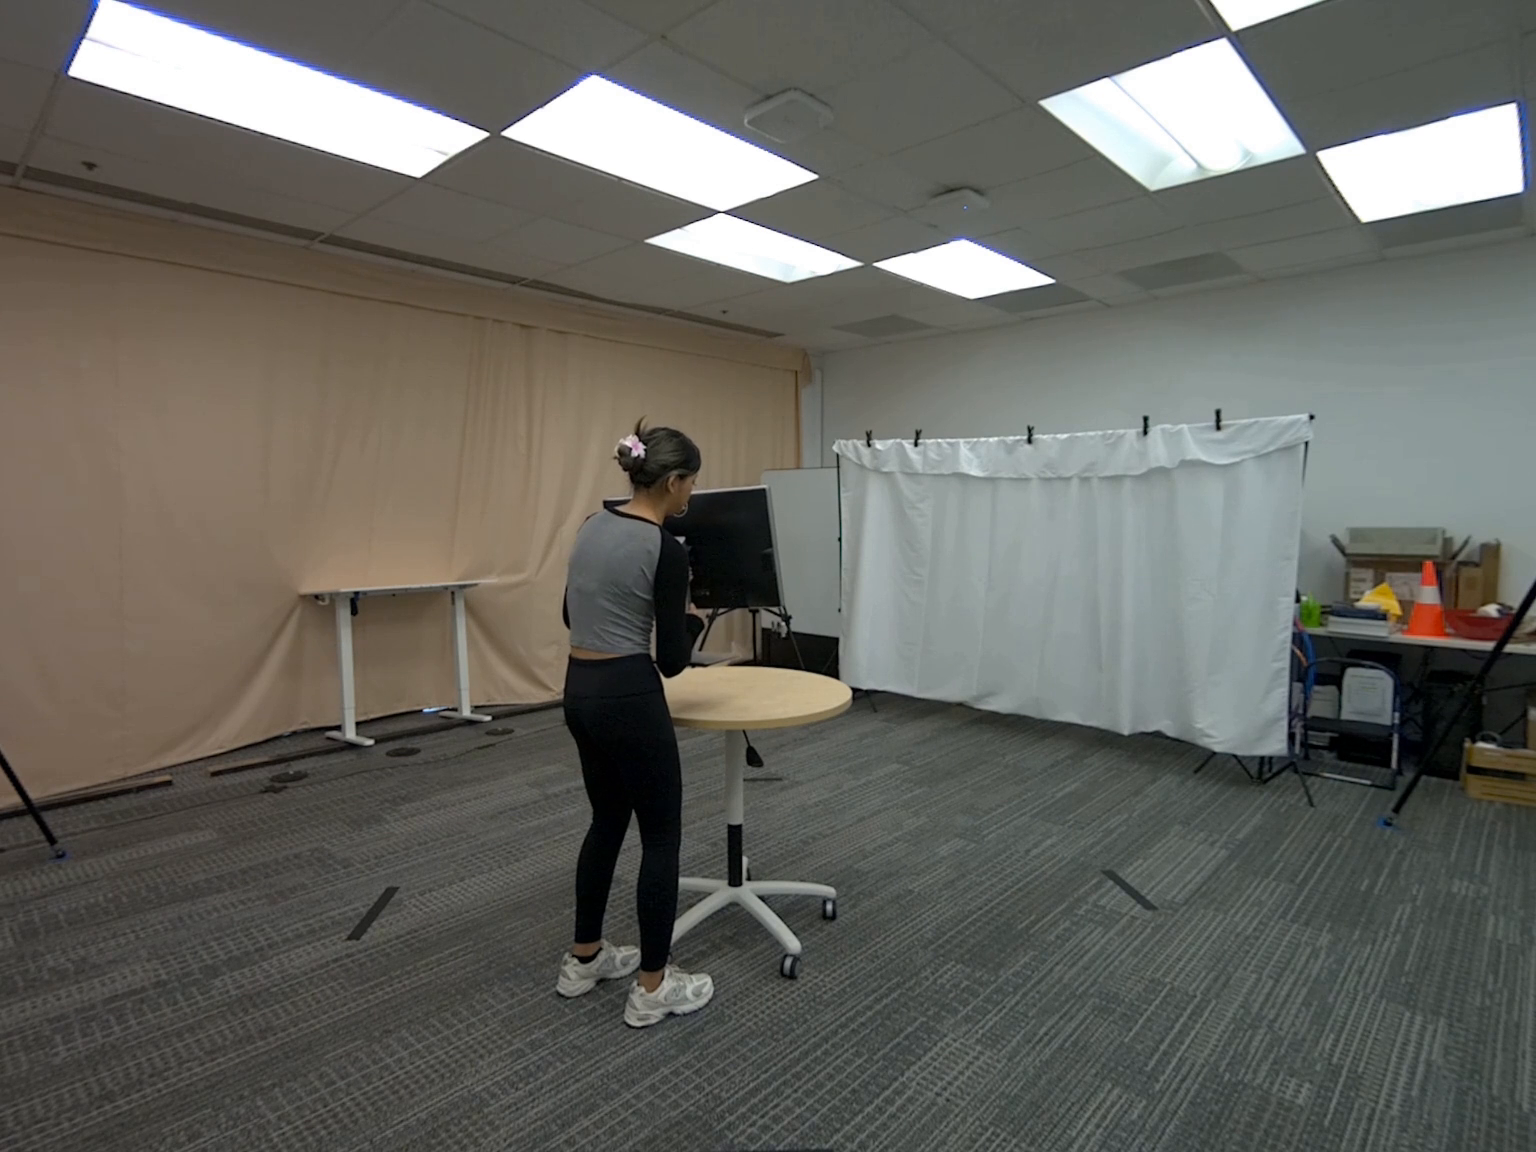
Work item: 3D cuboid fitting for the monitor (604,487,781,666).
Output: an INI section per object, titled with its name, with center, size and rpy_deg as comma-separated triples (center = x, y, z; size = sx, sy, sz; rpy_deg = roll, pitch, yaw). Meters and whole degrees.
[monitor]
center = -0.243, 0.011, 2.525
size = 0.551, 0.523, 0.183
rpy_deg = -2, -1, 23
